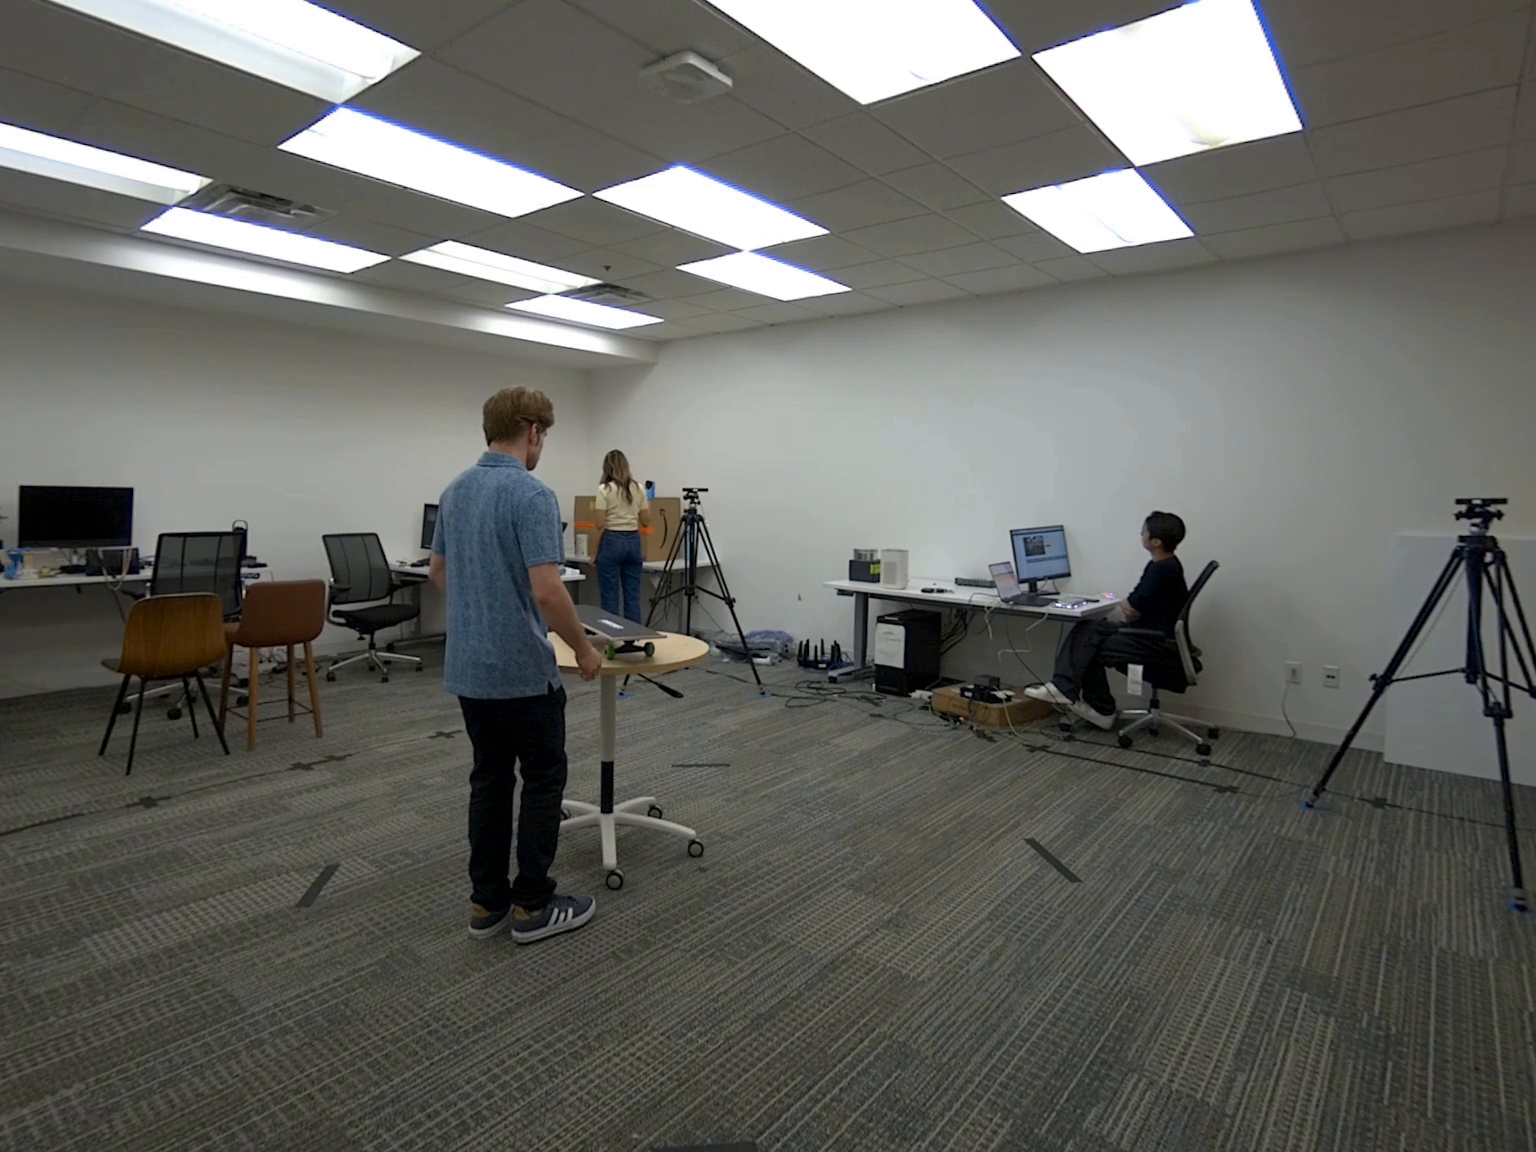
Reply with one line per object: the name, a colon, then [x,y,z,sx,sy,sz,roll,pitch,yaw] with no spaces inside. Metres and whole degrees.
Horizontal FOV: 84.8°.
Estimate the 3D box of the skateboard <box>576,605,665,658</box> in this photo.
skateboard: [-0.601,0.216,3.209,0.188,0.110,0.809,-3,7,-30]
